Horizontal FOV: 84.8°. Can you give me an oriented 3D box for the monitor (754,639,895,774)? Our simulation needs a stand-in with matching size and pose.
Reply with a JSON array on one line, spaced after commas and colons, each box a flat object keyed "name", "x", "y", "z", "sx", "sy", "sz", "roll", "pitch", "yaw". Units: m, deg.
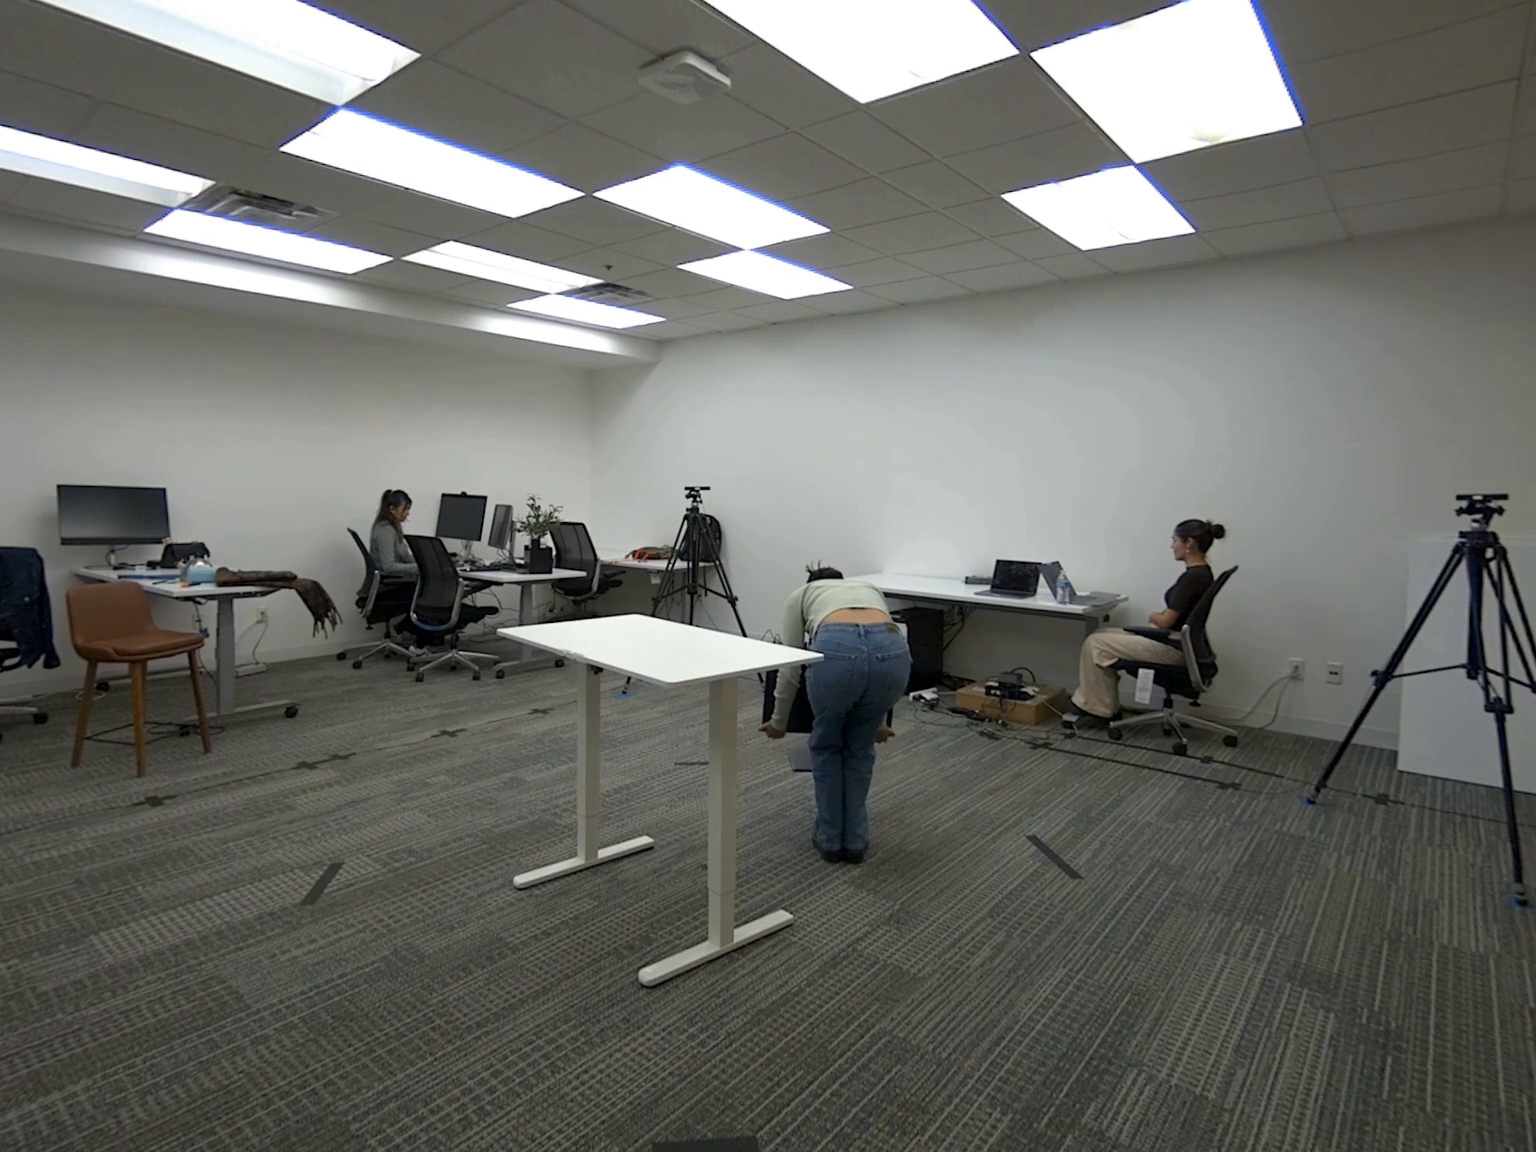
[{"name": "monitor", "x": 0.233, "y": 0.540, "z": 3.528, "sx": 0.536, "sy": 0.514, "sz": 0.191, "roll": 0, "pitch": 19, "yaw": -5}]
